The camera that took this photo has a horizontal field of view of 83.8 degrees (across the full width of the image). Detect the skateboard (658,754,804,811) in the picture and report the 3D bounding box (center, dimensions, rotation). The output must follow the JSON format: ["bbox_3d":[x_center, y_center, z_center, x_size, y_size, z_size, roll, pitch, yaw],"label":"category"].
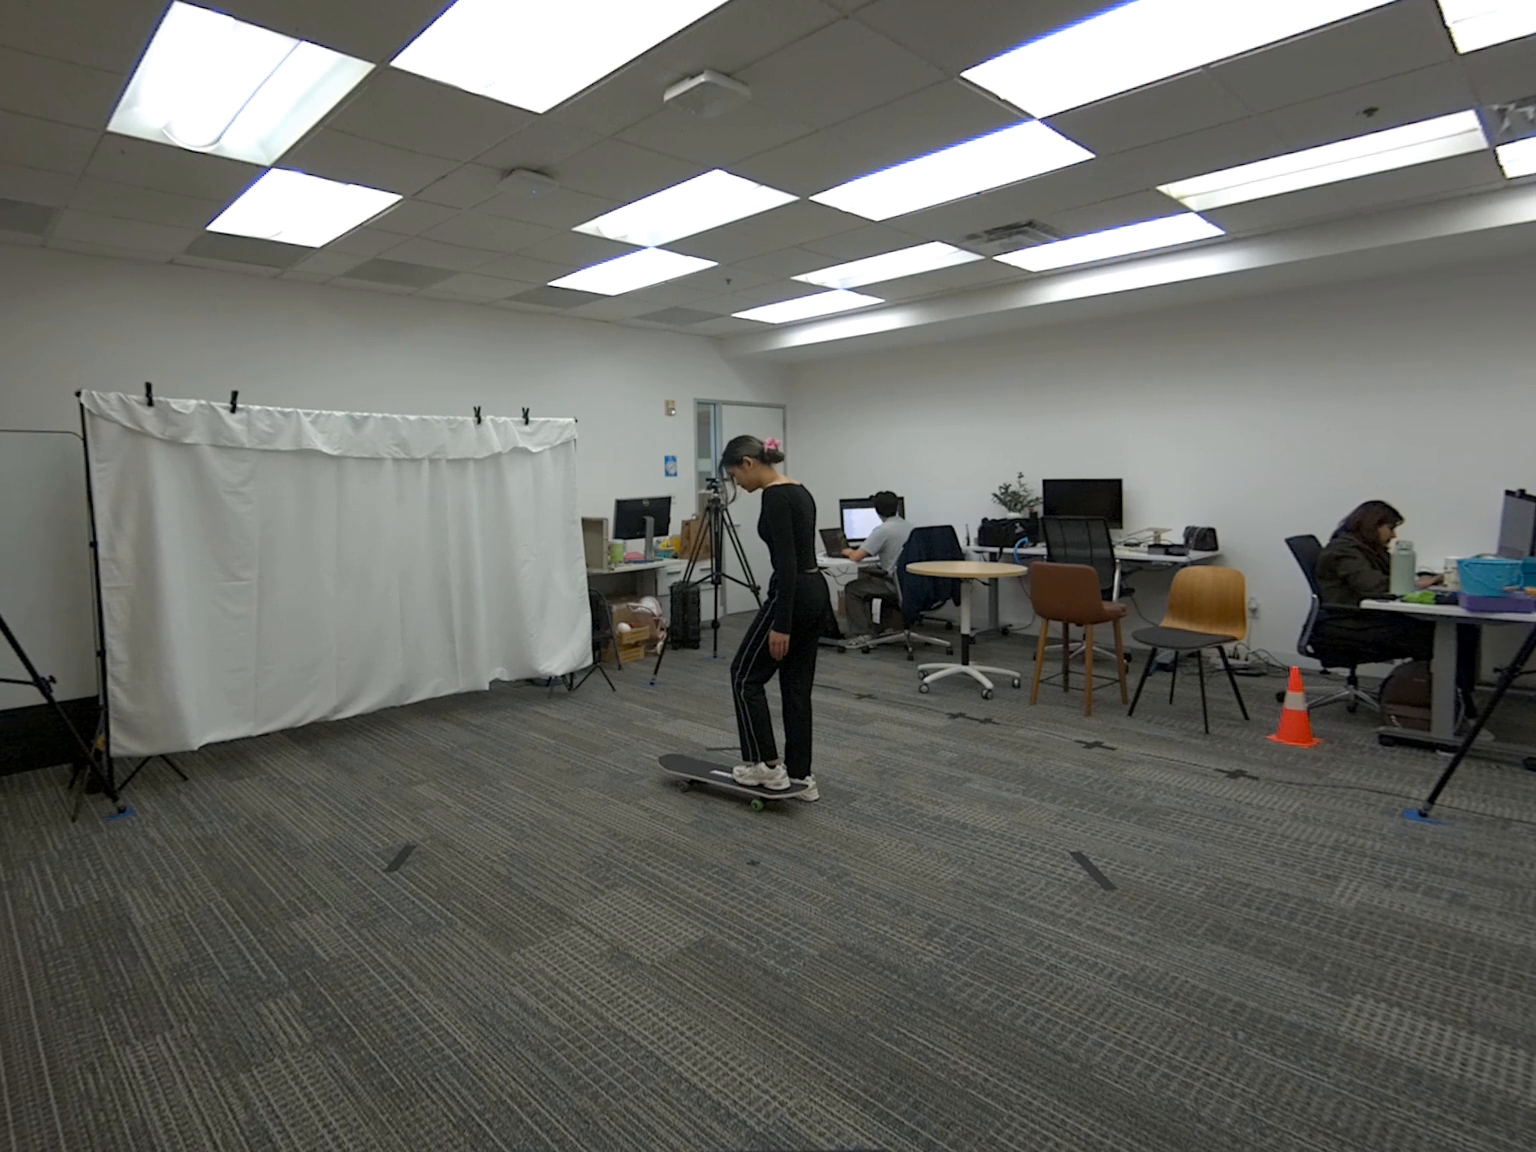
[{"bbox_3d":[-0.165,0.920,3.770,0.809,0.110,0.188,5,7,38],"label":"skateboard"}]
